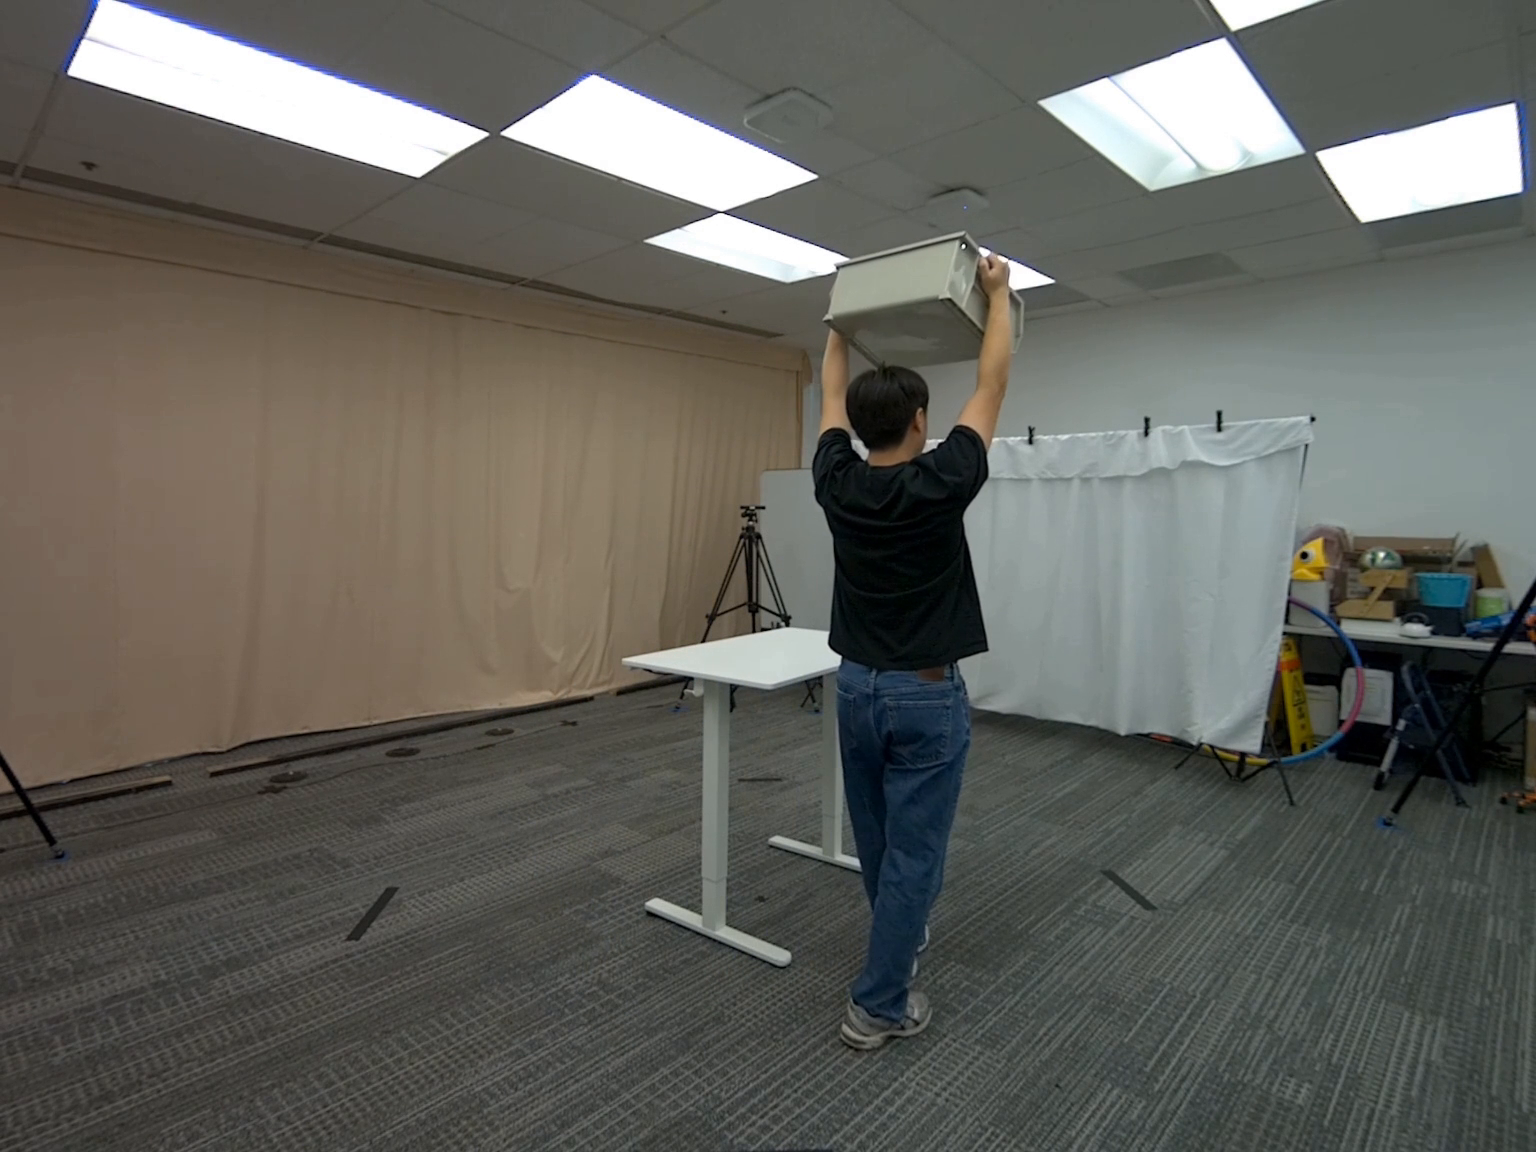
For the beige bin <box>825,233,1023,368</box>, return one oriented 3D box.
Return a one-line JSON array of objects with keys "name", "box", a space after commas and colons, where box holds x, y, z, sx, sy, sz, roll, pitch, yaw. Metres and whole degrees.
[{"name": "beige bin", "box": [0.441, -0.736, 2.366, 0.437, 0.189, 0.363, 6, -14, 46]}]
